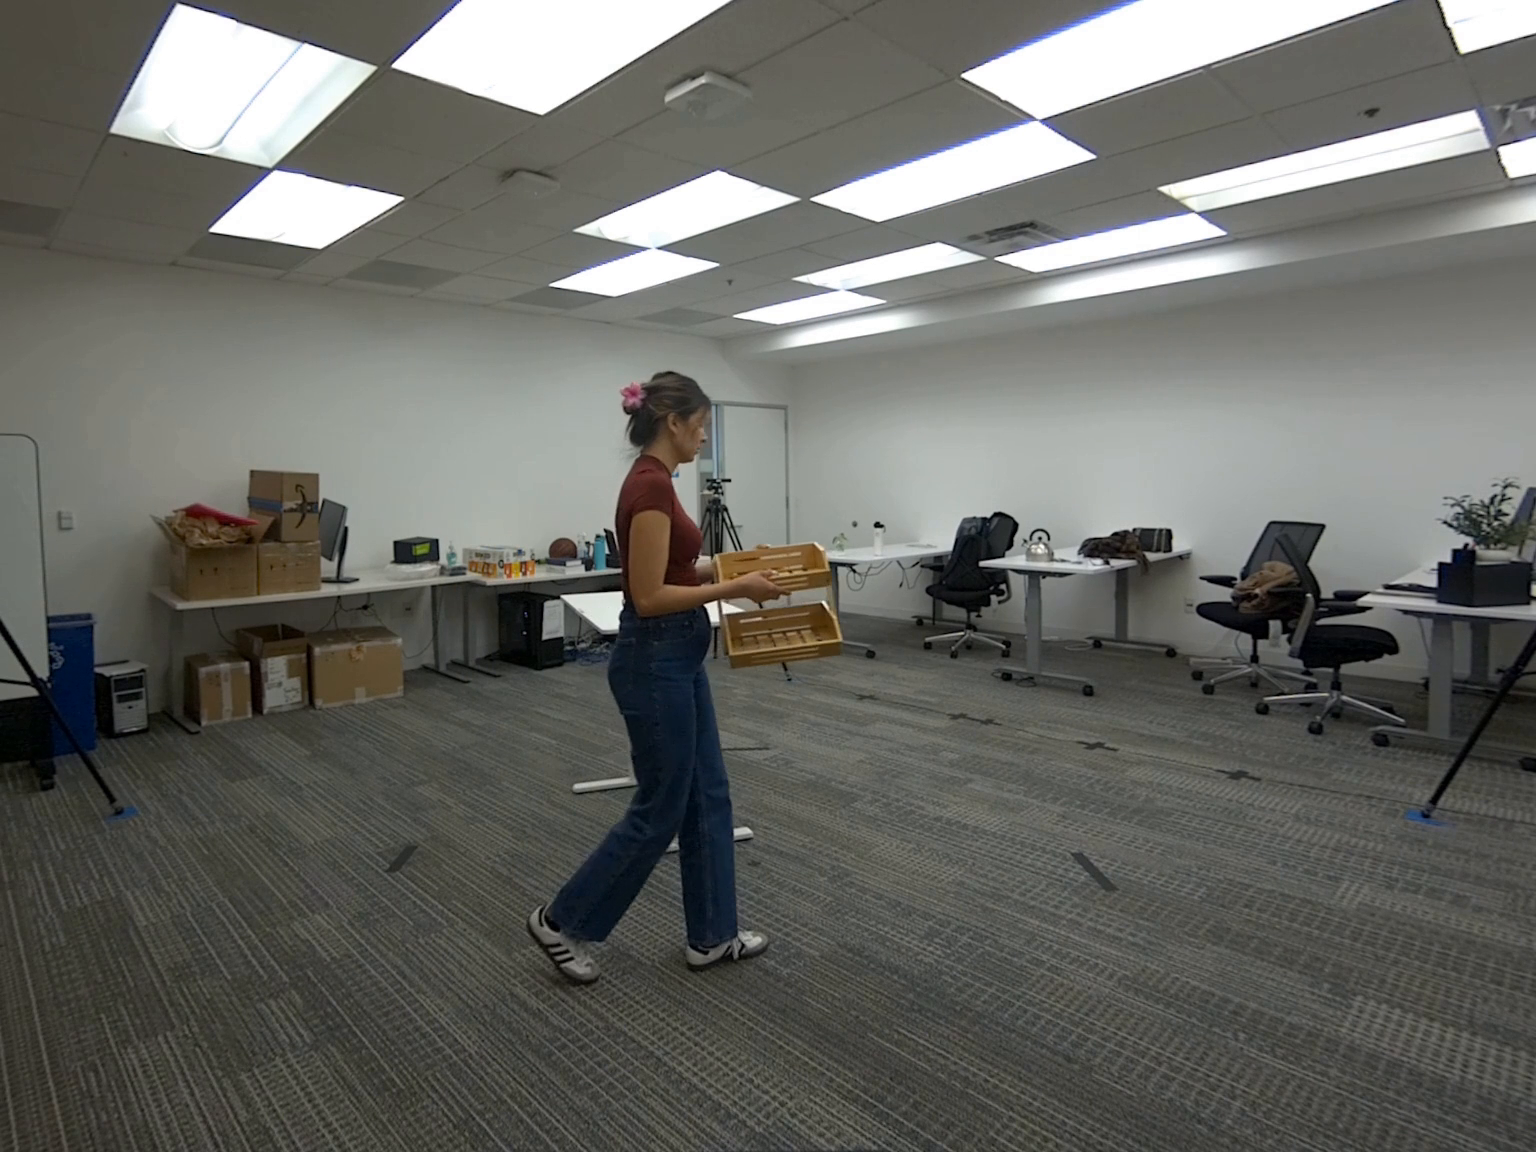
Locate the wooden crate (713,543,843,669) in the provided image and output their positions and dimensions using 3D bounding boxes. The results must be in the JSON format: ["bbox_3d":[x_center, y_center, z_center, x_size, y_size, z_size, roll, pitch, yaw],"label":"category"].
[{"bbox_3d":[0.025,0.069,2.352,0.323,0.271,0.306,-8,9,-7],"label":"wooden crate"}]
